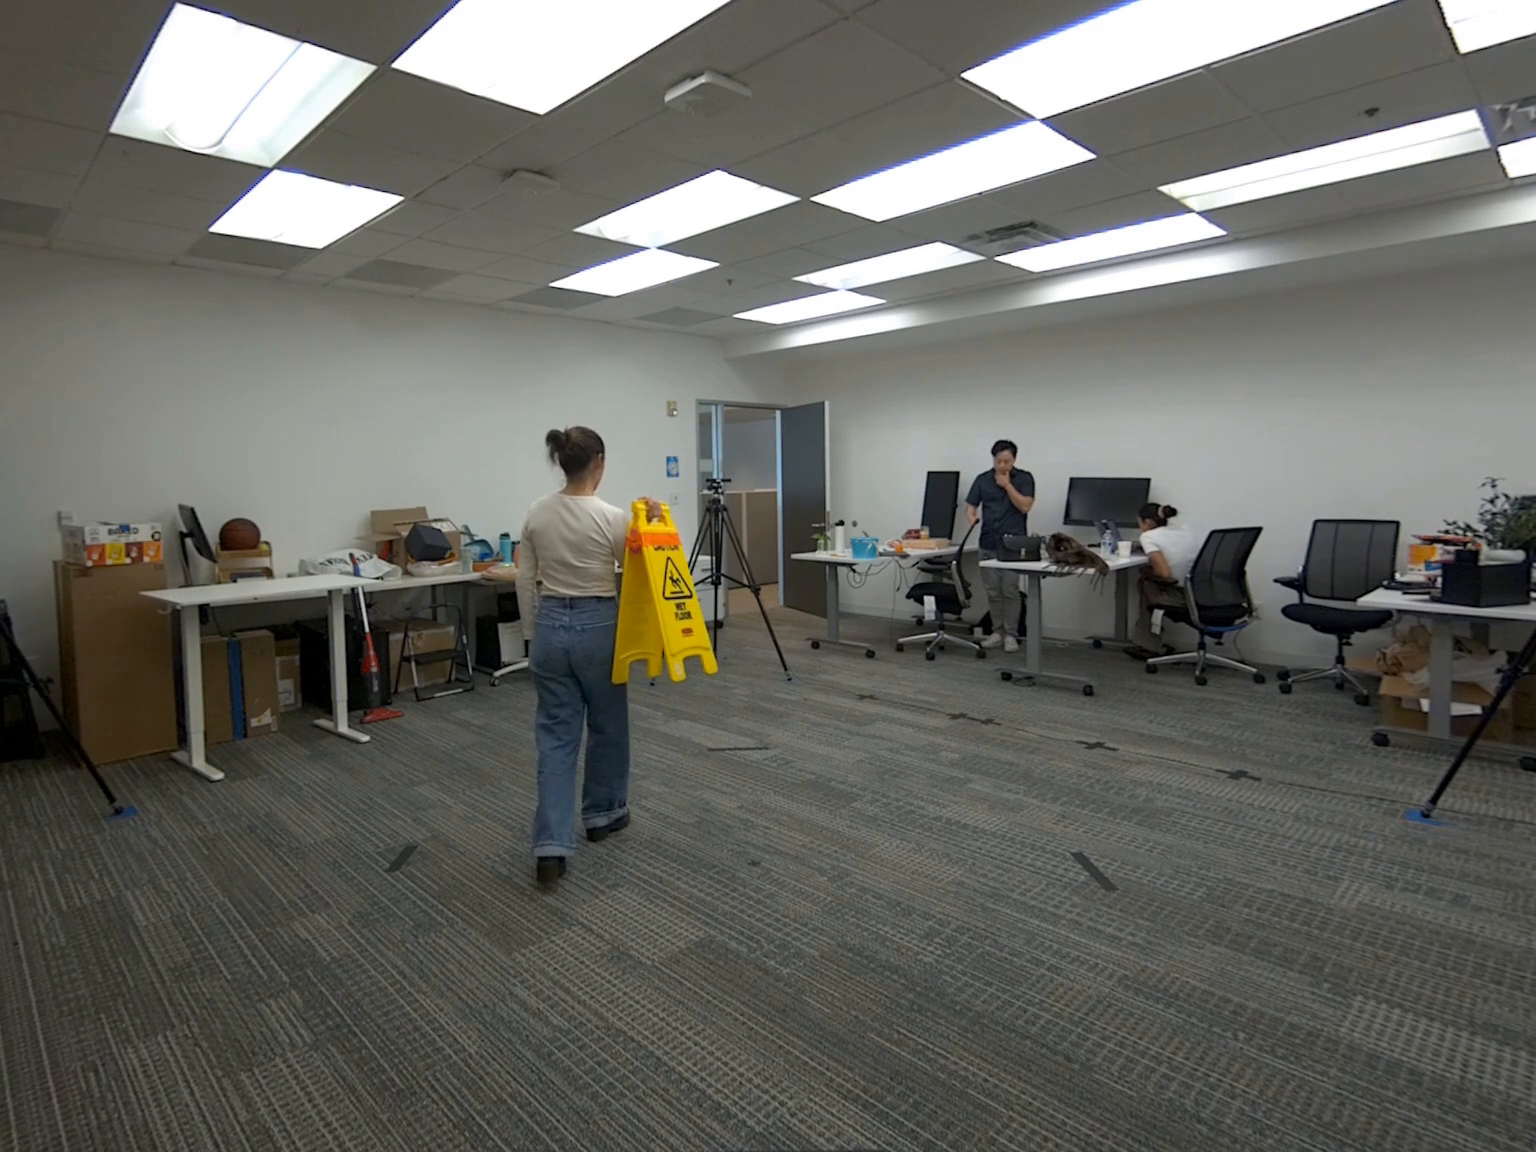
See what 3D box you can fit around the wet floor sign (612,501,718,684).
[{"bbox_3d":[-0.400,0.041,3.120,0.296,0.650,0.274,-9,-6,31],"label":"wet floor sign"}]
